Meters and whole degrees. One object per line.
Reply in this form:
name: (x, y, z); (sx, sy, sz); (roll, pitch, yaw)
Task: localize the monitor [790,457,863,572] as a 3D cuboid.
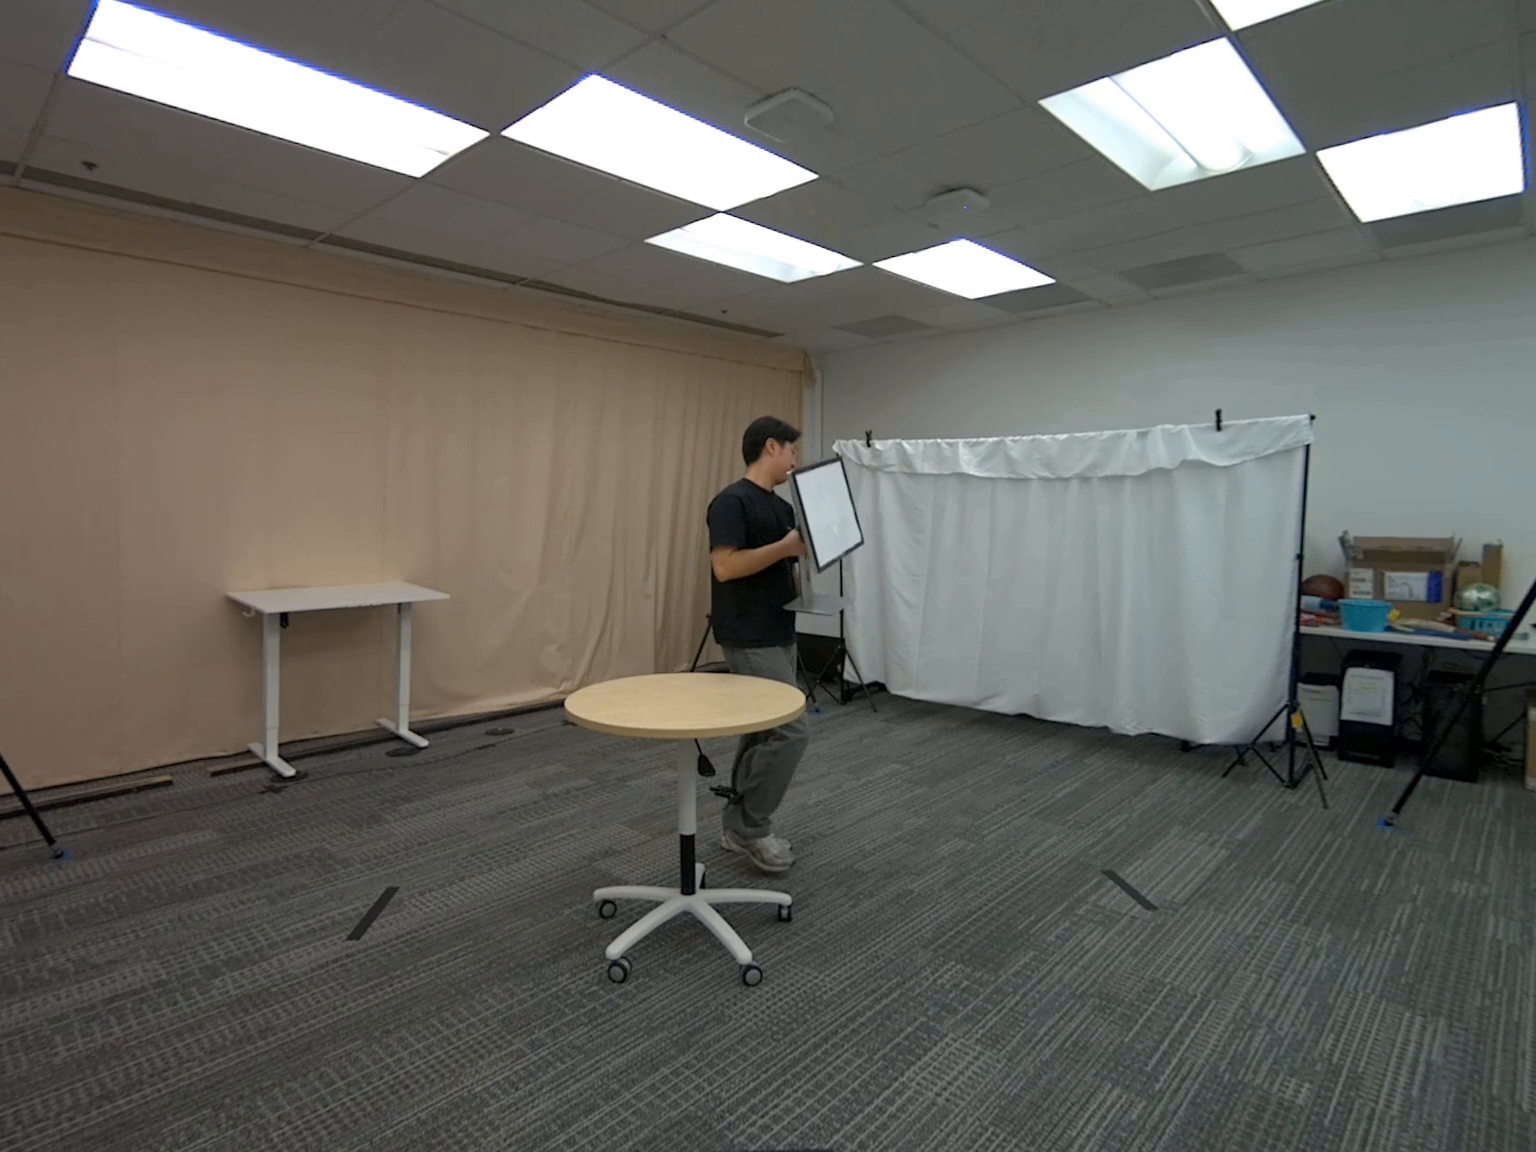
monitor: (0.206, -0.140, 3.150); (0.228, 0.561, 0.551); (6, 14, 25)
